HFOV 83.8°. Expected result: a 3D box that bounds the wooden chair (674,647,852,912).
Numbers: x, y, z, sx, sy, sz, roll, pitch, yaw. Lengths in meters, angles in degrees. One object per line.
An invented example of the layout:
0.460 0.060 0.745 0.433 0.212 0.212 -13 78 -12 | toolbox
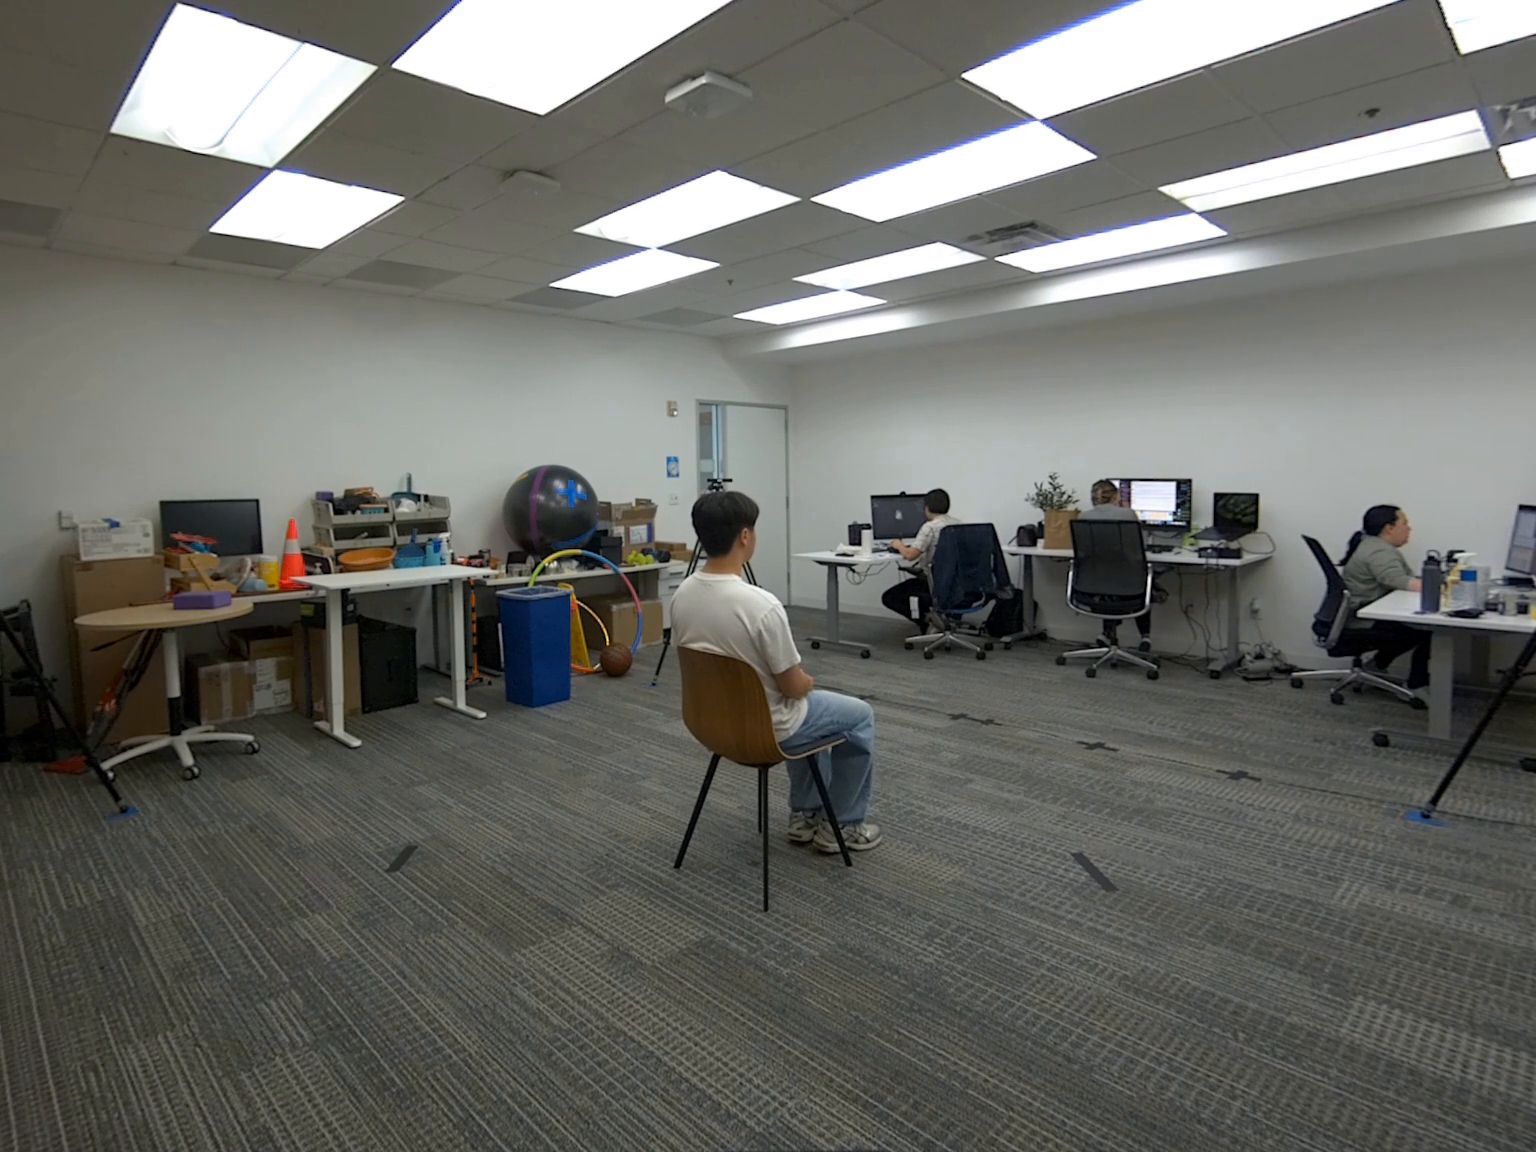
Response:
-0.021 0.625 3.039 0.493 0.870 0.511 4 11 44 | wooden chair
